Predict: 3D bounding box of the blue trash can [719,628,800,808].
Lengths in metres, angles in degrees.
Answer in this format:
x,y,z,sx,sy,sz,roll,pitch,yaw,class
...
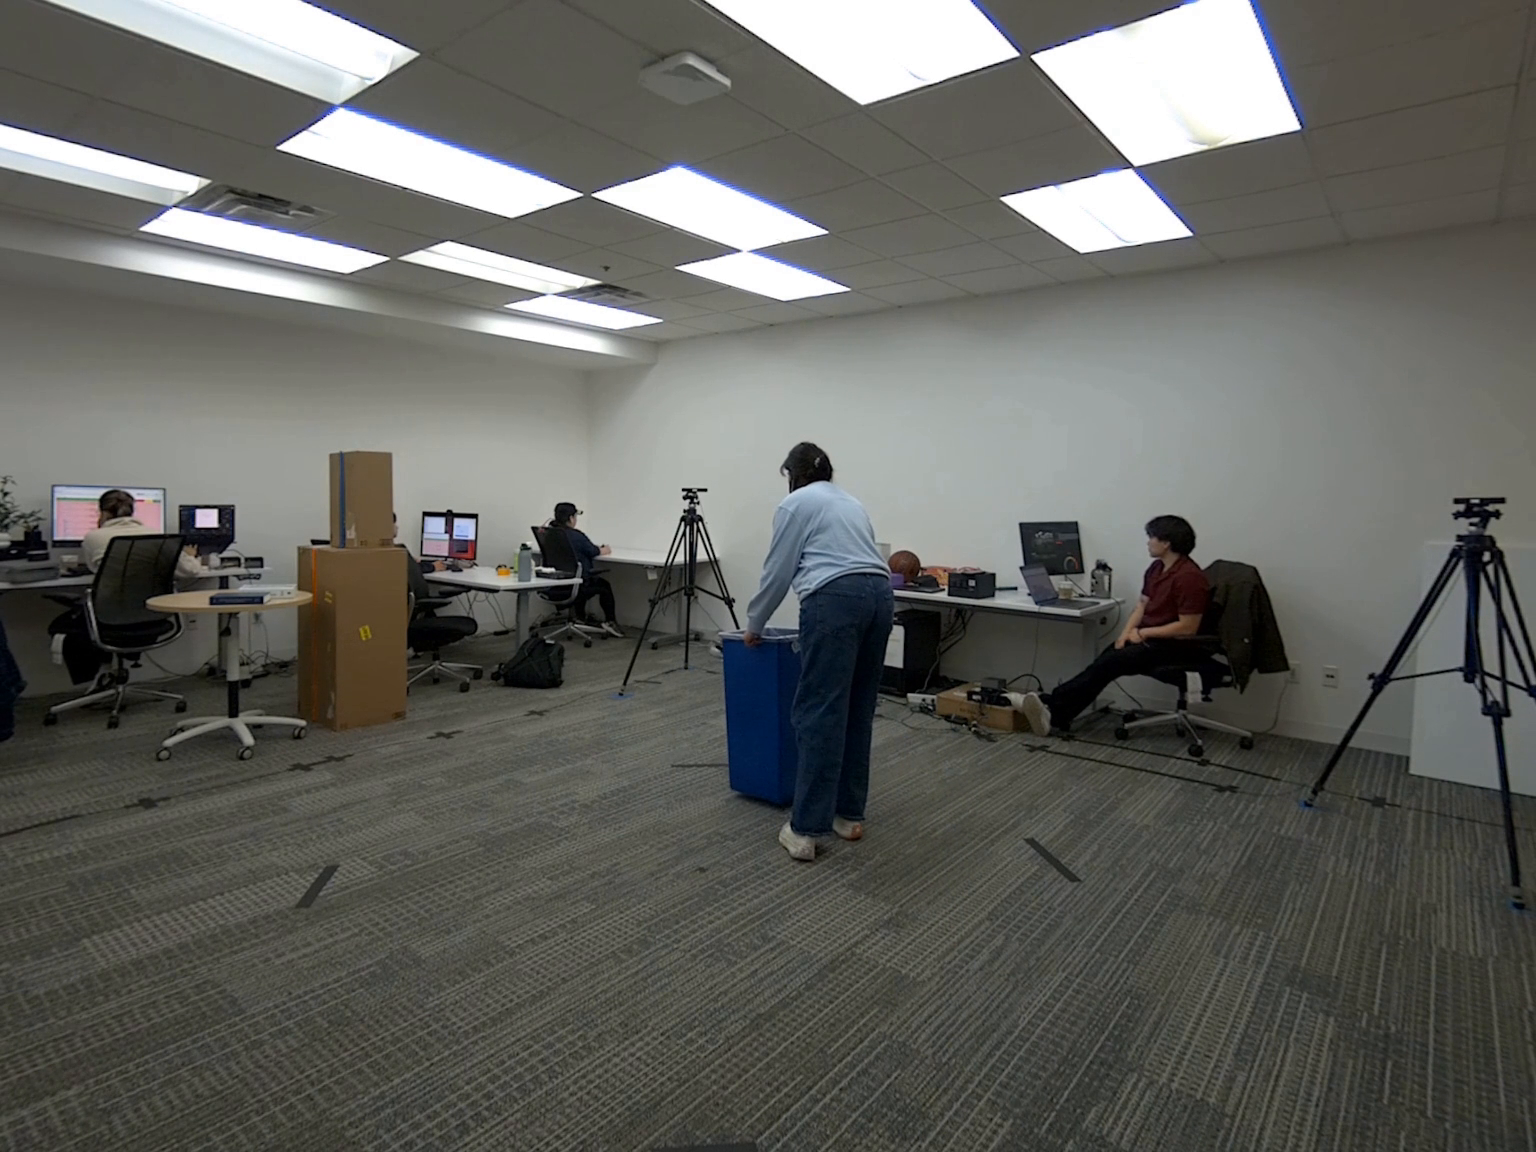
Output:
x,y,z,sx,sy,sz,roll,pitch,yaw,class
0.008,0.609,3.878,0.386,0.714,0.366,0,0,41,blue trash can
